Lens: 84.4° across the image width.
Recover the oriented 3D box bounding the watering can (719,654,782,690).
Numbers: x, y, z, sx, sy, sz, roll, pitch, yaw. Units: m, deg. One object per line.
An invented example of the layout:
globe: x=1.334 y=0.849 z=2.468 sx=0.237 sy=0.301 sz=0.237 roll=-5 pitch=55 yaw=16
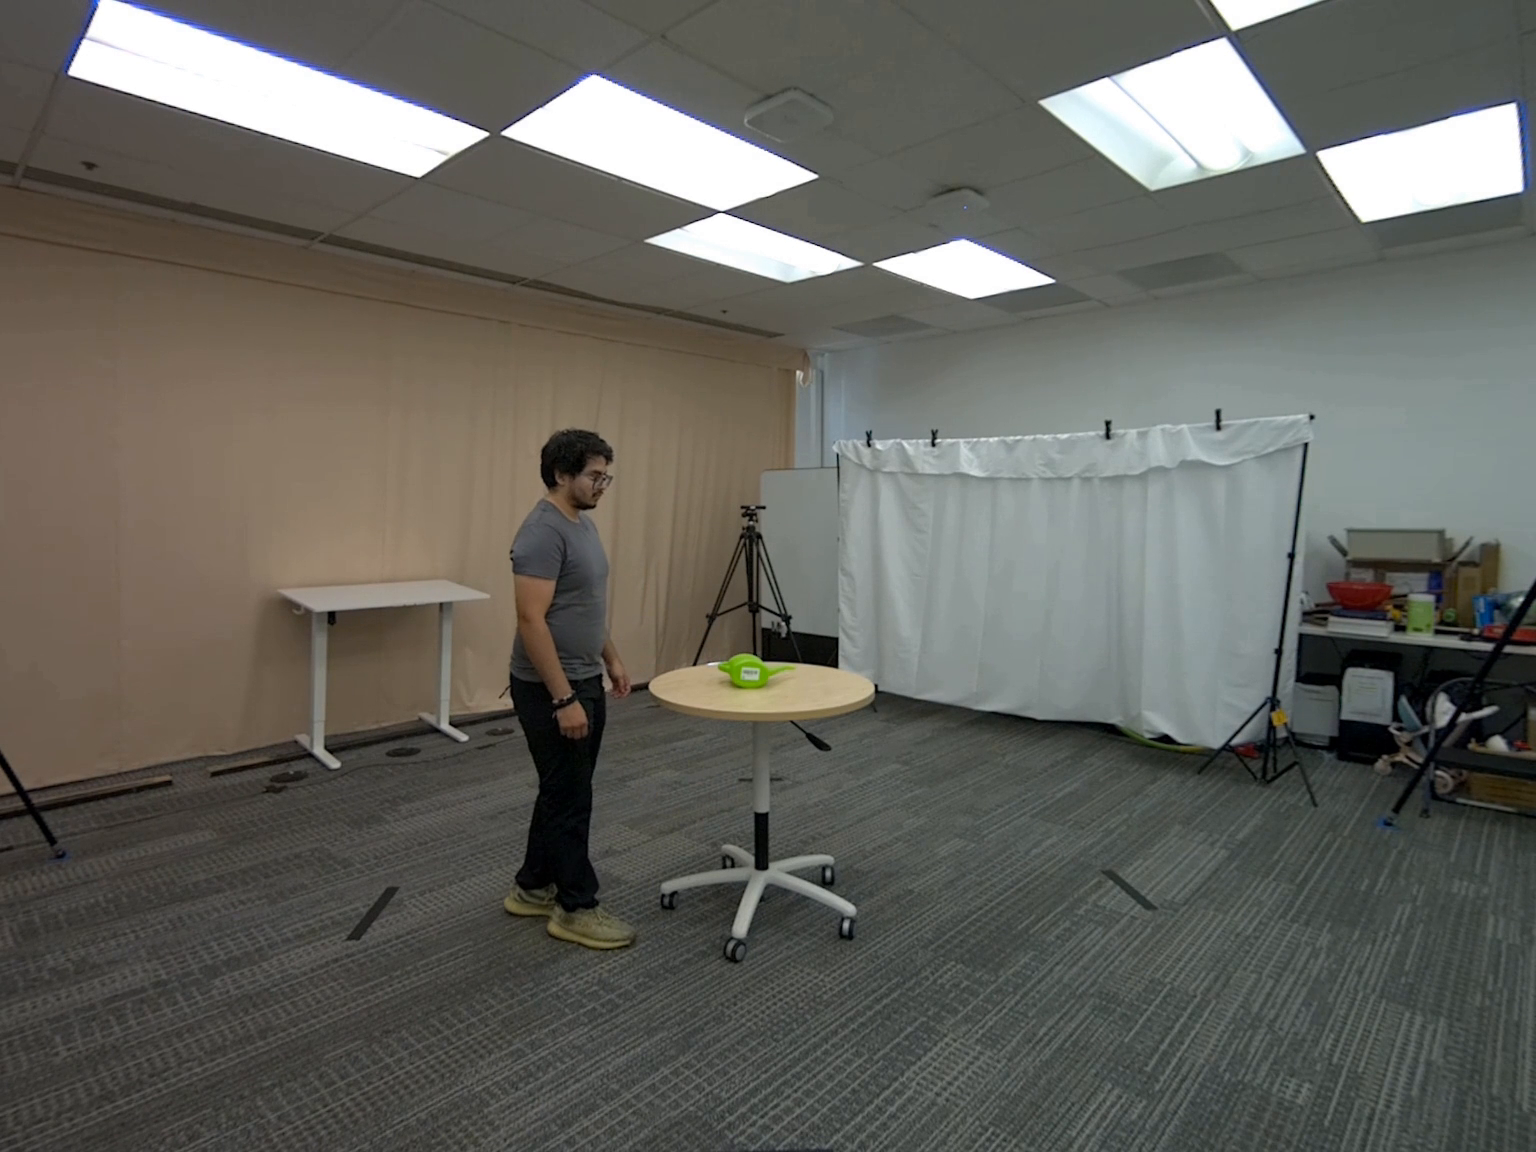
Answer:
watering can: x=-0.029 y=0.317 z=2.882 sx=0.276 sy=0.097 sz=0.179 roll=-8 pitch=6 yaw=-7
